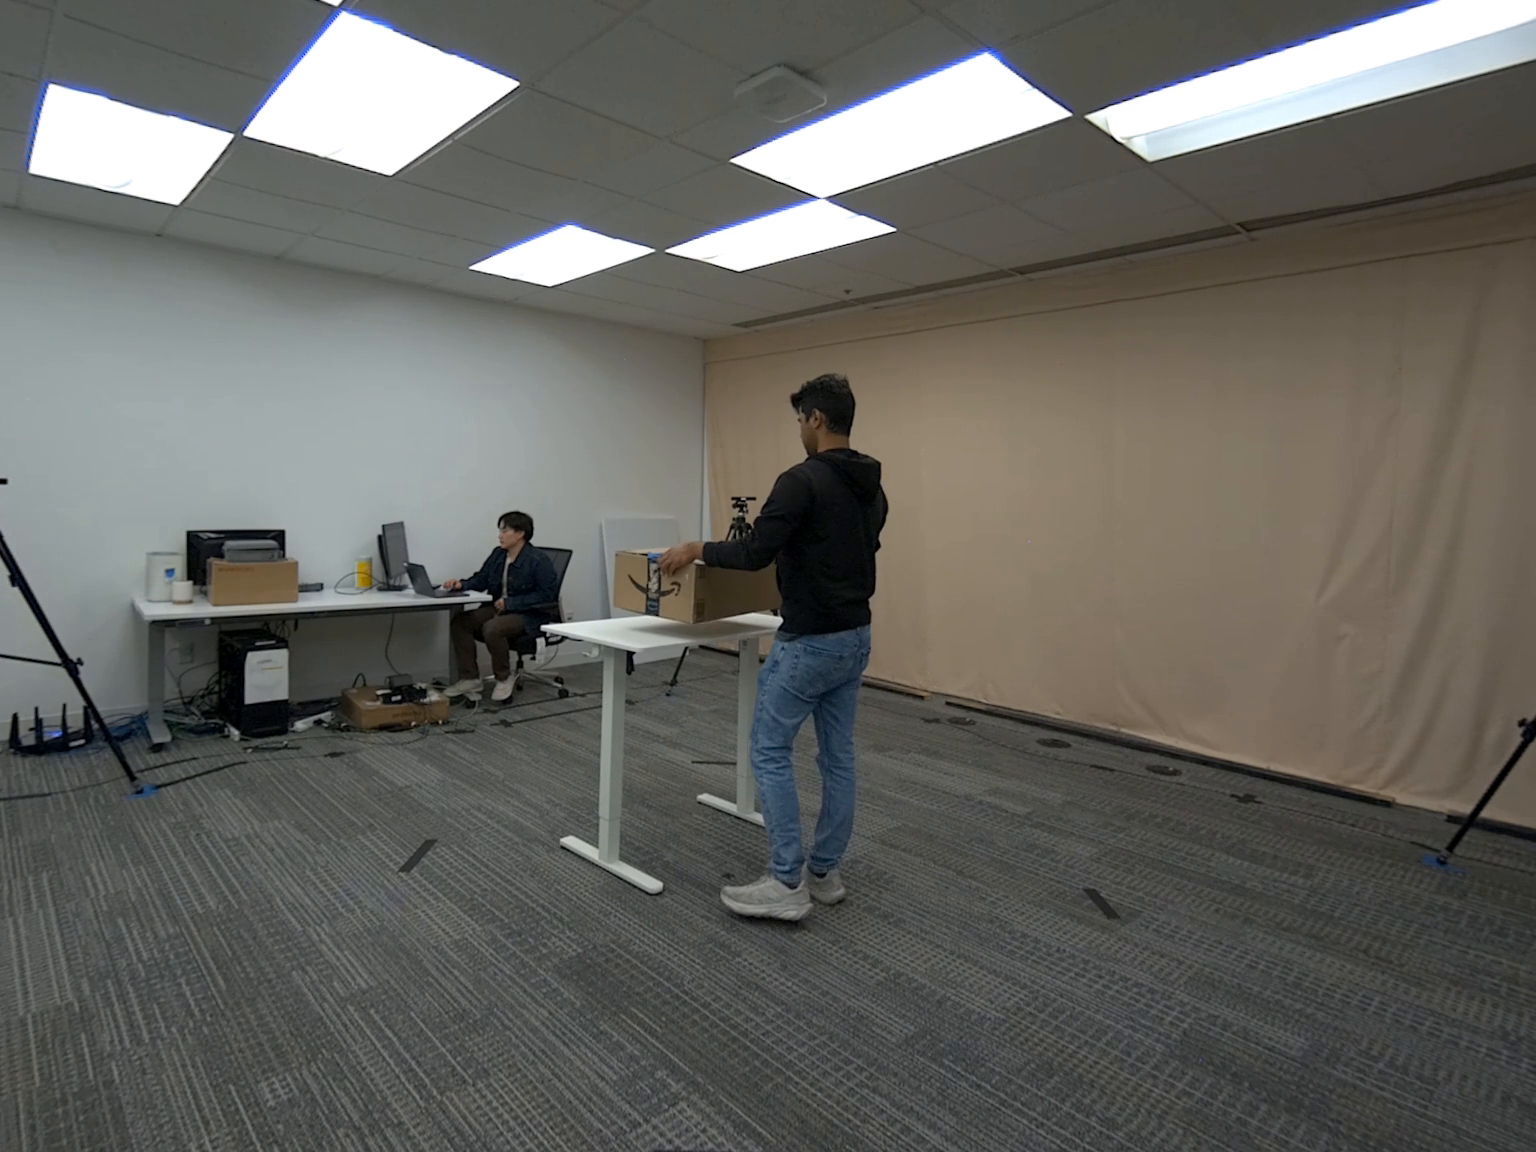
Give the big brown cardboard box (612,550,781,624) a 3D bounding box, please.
[{"bbox_3d":[-0.254,0.019,3.262,0.428,0.232,0.576,8,8,37],"label":"big brown cardboard box"}]
